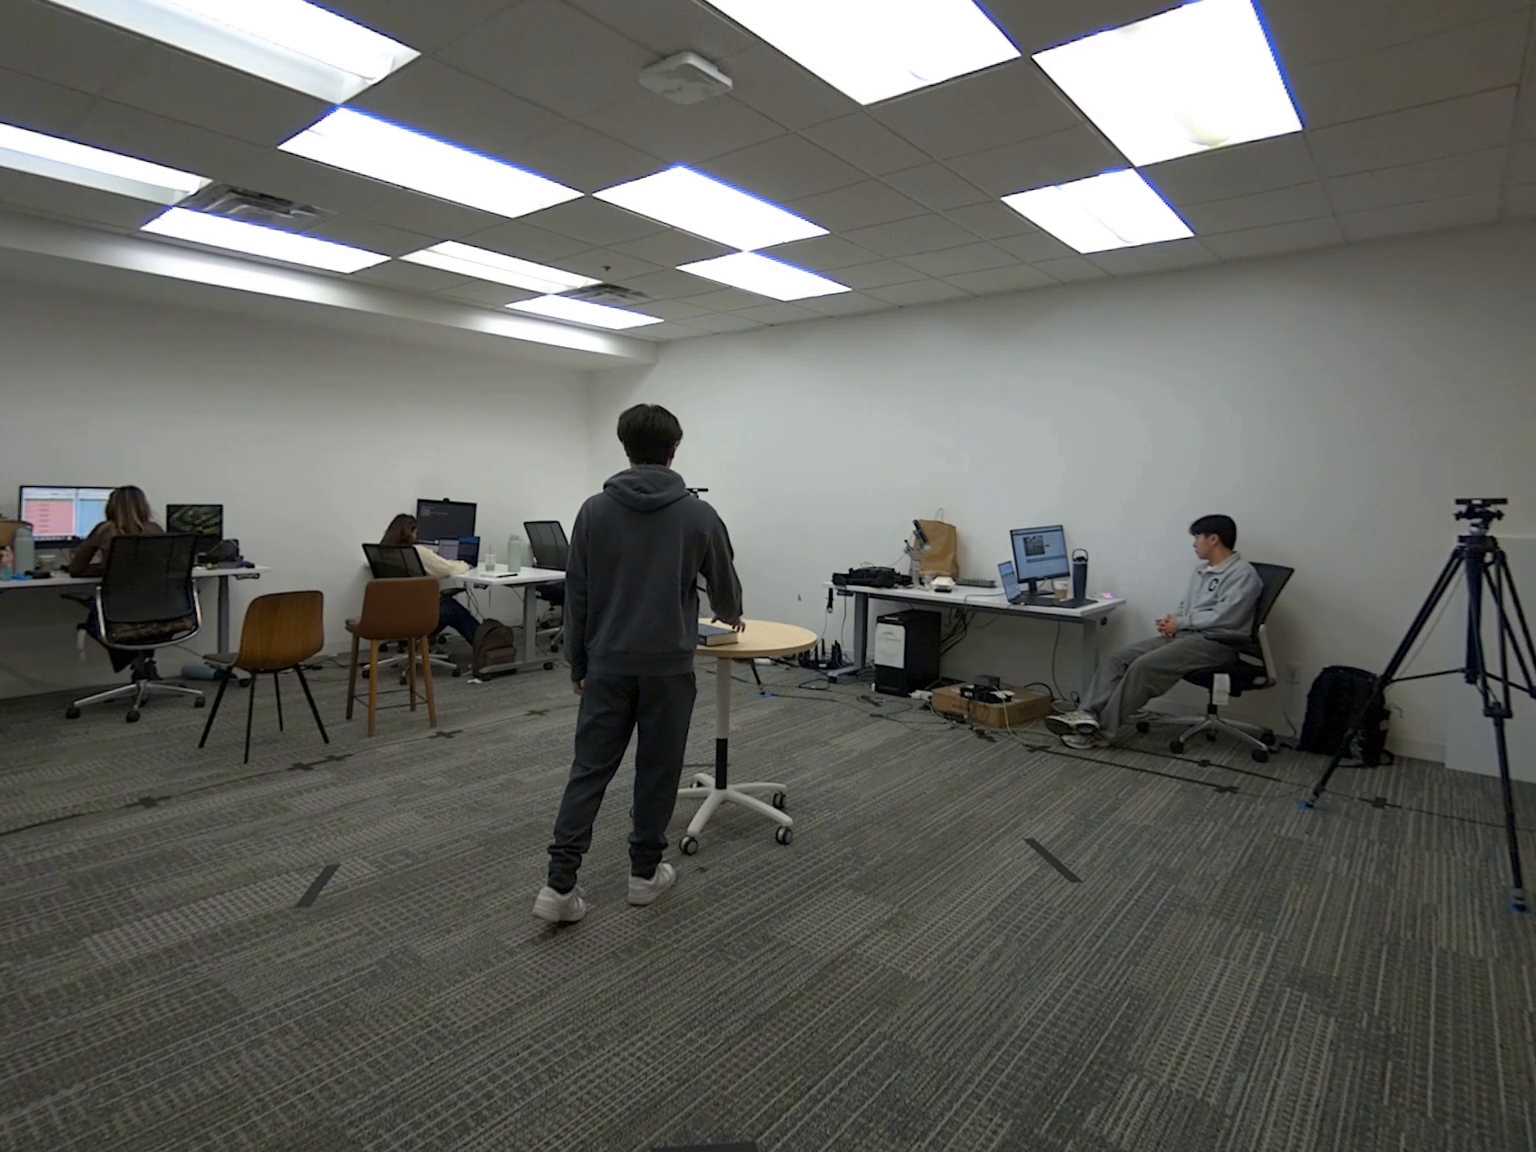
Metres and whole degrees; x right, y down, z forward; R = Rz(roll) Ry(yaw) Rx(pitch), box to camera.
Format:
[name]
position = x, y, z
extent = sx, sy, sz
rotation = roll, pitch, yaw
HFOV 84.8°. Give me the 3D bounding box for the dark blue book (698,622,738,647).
[dark blue book]
position = -0.262, 0.232, 3.352
extent = 0.158, 0.045, 0.253
rotation = -2, 5, -41
